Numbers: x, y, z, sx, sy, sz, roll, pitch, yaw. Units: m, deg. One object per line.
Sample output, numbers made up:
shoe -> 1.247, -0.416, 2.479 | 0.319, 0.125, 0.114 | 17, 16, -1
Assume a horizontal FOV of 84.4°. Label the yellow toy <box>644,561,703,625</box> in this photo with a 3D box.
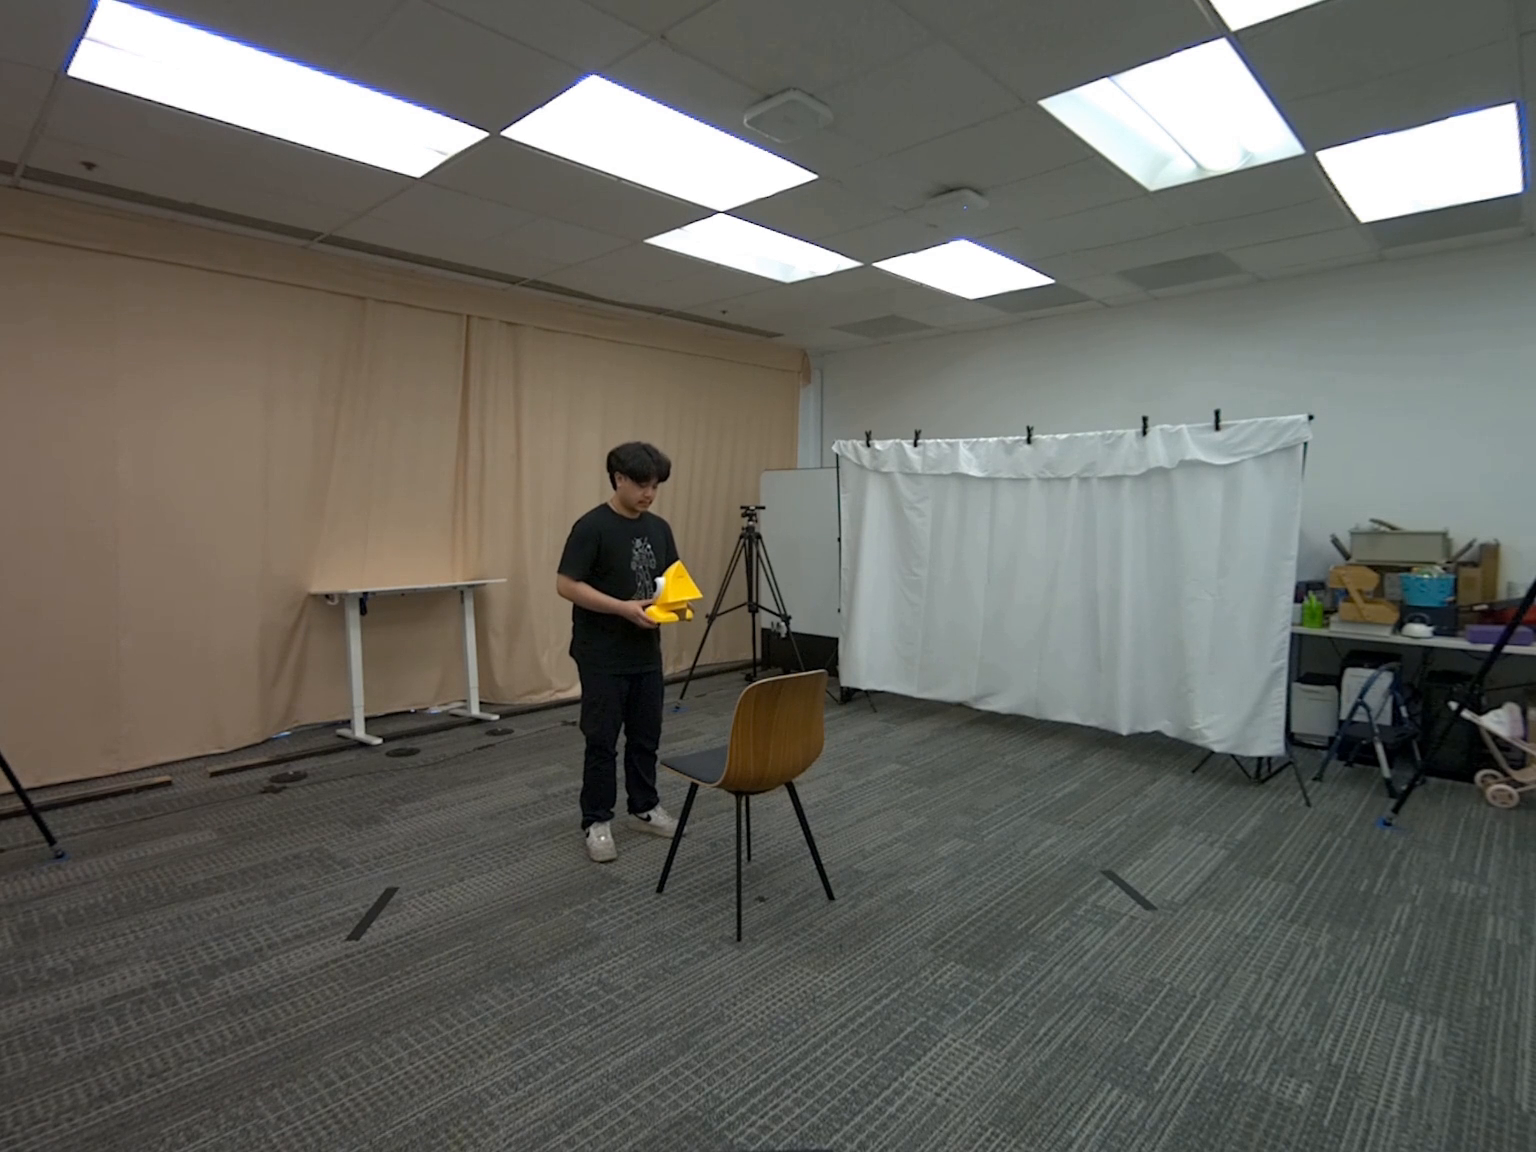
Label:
yellow toy -> -0.399, 0.055, 3.311 | 0.199, 0.230, 0.199 | 2, 4, 35
